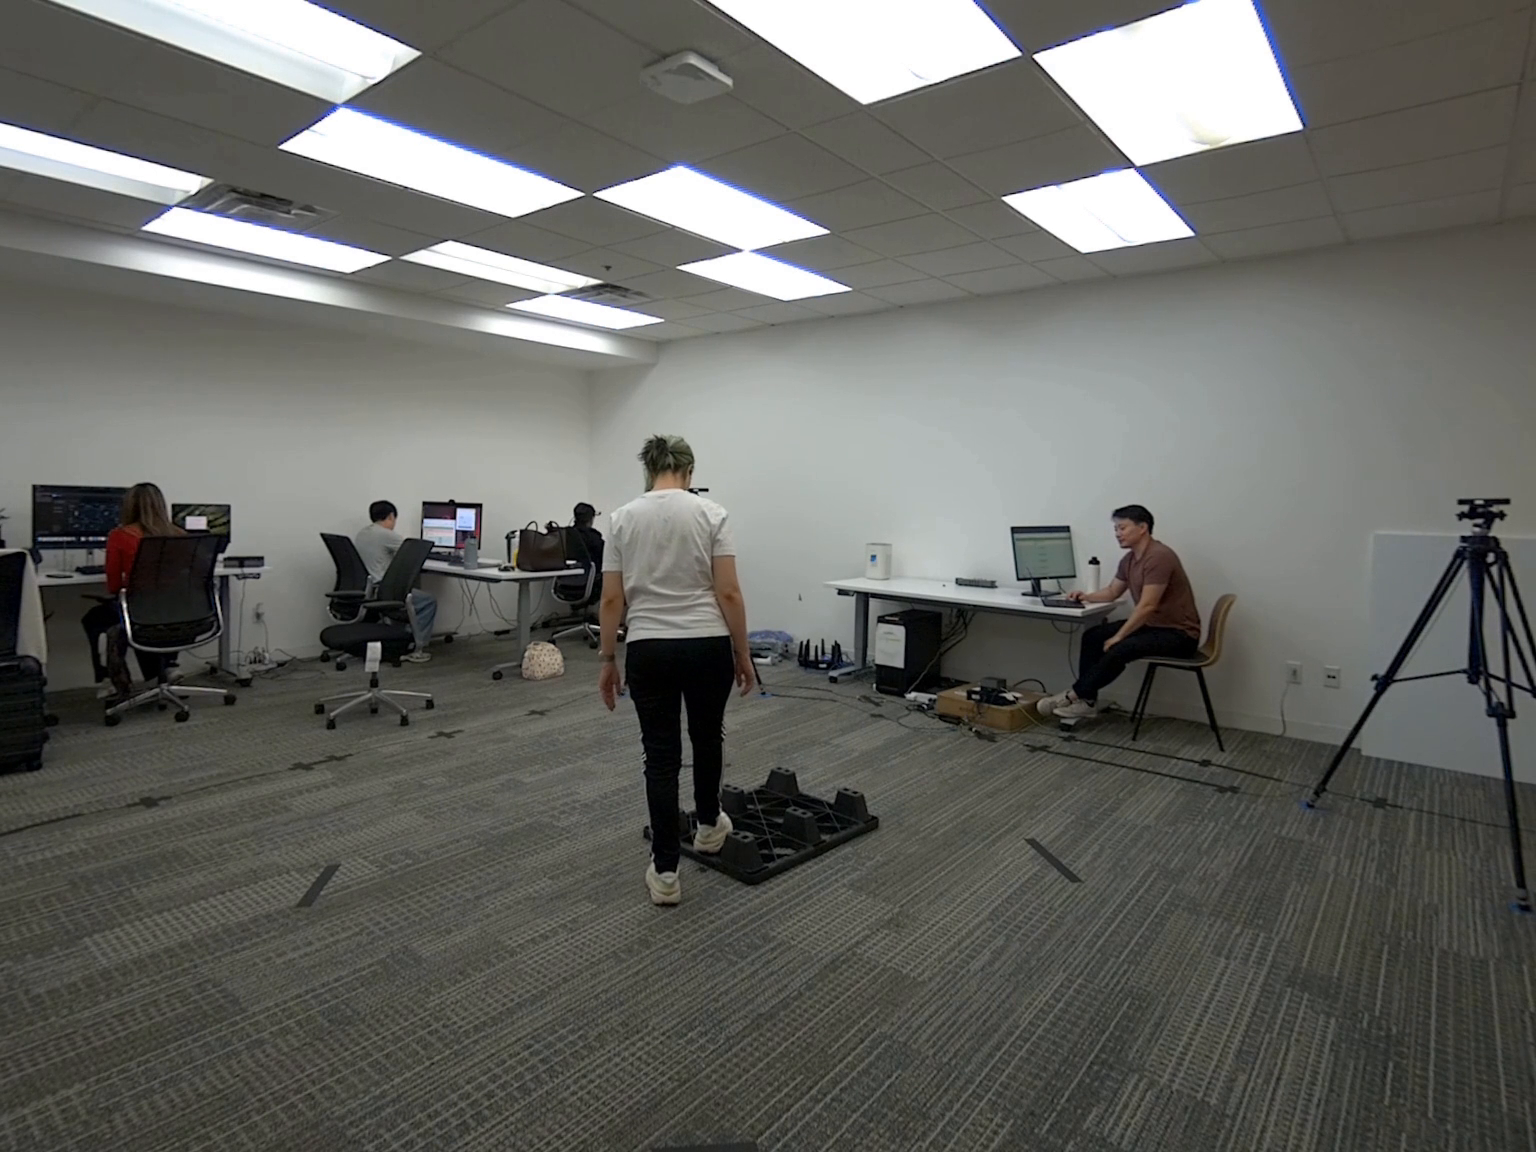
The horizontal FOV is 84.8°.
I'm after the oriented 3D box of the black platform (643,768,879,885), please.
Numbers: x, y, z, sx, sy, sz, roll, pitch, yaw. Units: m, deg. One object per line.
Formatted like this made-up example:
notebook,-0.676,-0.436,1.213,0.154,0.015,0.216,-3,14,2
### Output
black platform,-0.024,0.974,3.454,0.626,0.143,0.782,5,7,42
